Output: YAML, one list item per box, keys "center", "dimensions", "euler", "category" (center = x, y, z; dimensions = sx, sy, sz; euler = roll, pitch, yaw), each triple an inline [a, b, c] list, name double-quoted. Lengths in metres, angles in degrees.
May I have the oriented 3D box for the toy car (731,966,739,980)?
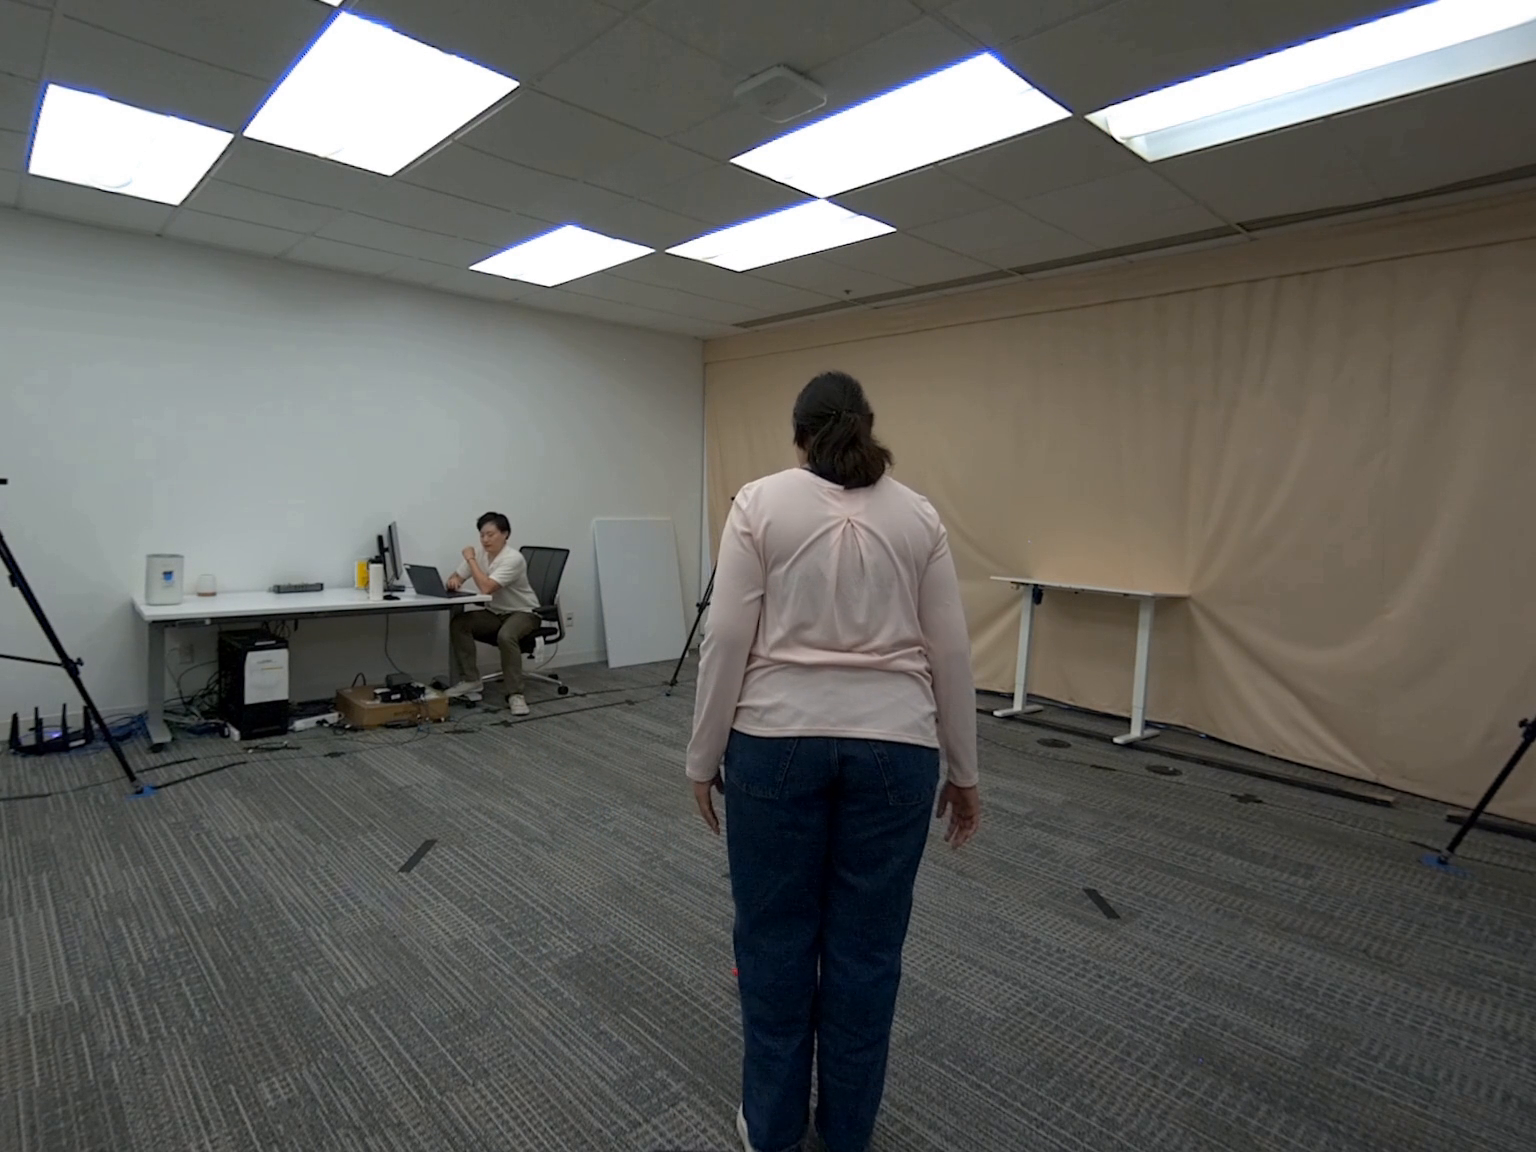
- center: [0.016, 1.148, 2.415]
  dimensions: [0.248, 0.083, 0.133]
  euler: [12, -1, -31]
  category: "toy car"
